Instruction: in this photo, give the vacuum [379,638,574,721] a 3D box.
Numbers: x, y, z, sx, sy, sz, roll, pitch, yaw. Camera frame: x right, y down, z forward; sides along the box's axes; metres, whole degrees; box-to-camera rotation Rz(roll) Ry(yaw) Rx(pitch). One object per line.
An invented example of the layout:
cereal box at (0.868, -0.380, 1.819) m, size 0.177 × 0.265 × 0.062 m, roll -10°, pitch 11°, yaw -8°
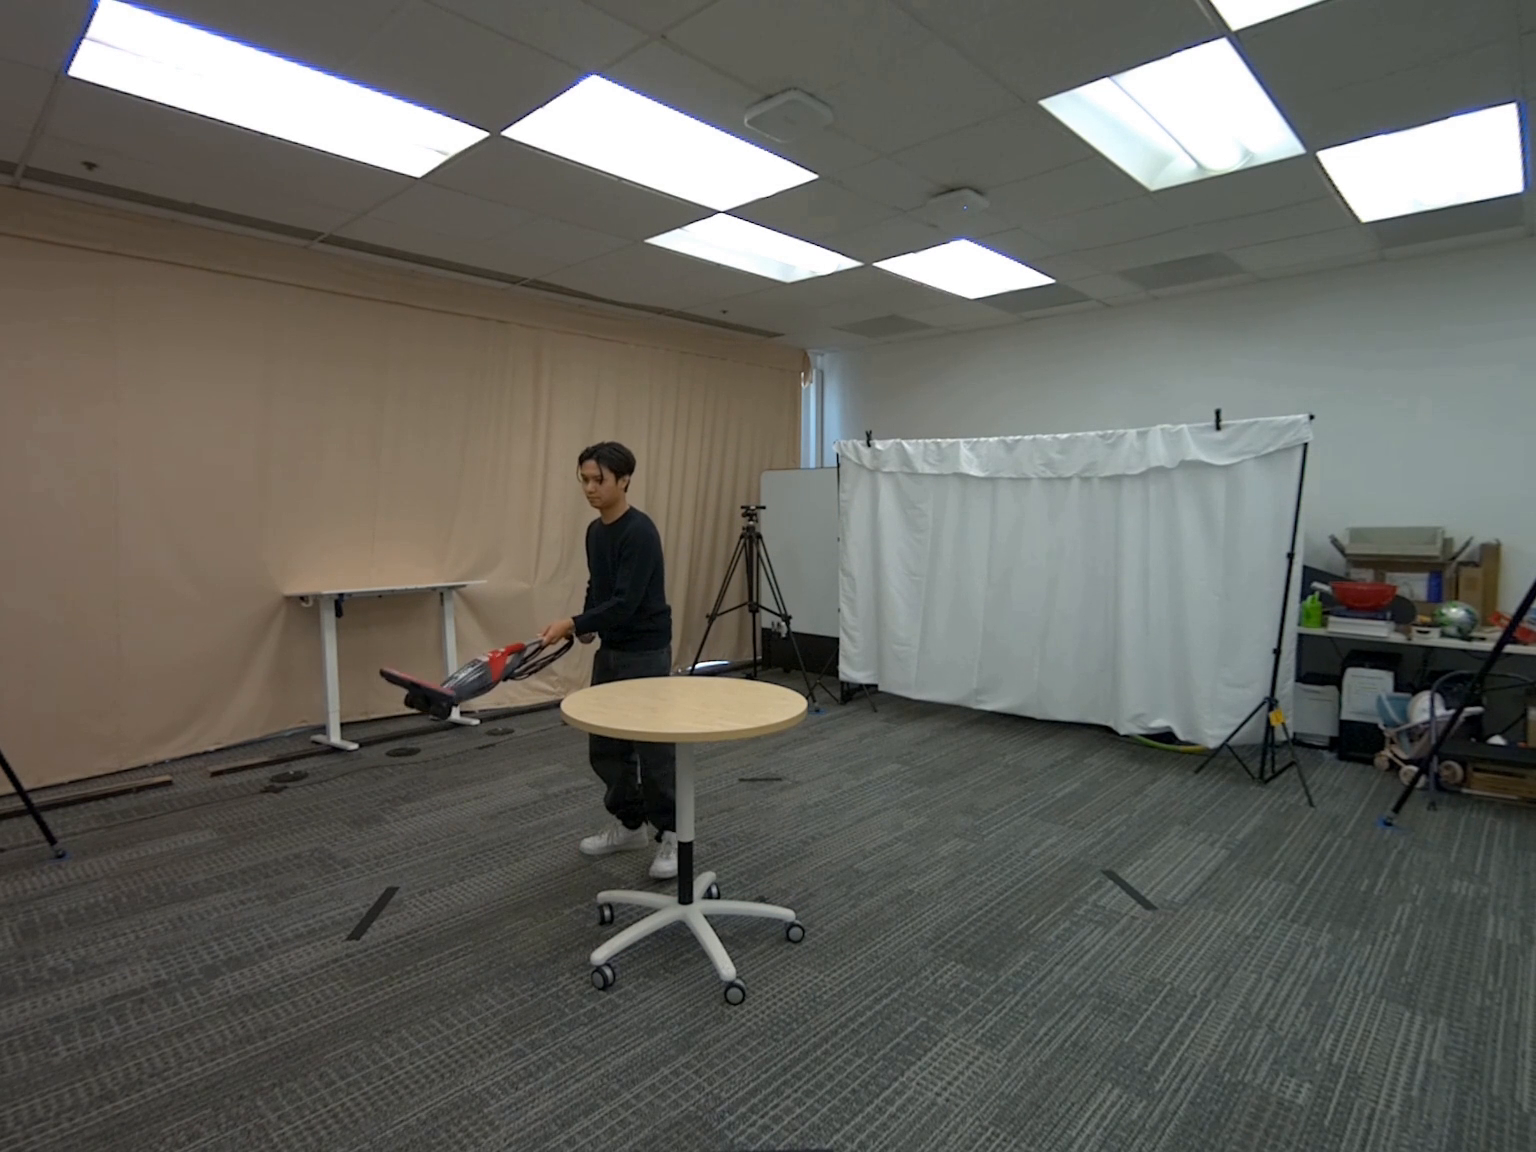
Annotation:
vacuum at (-0.839, 0.294, 2.865) m, size 0.257 × 0.143 × 1.034 m, roll 20°, pitch 13°, yaw 13°
